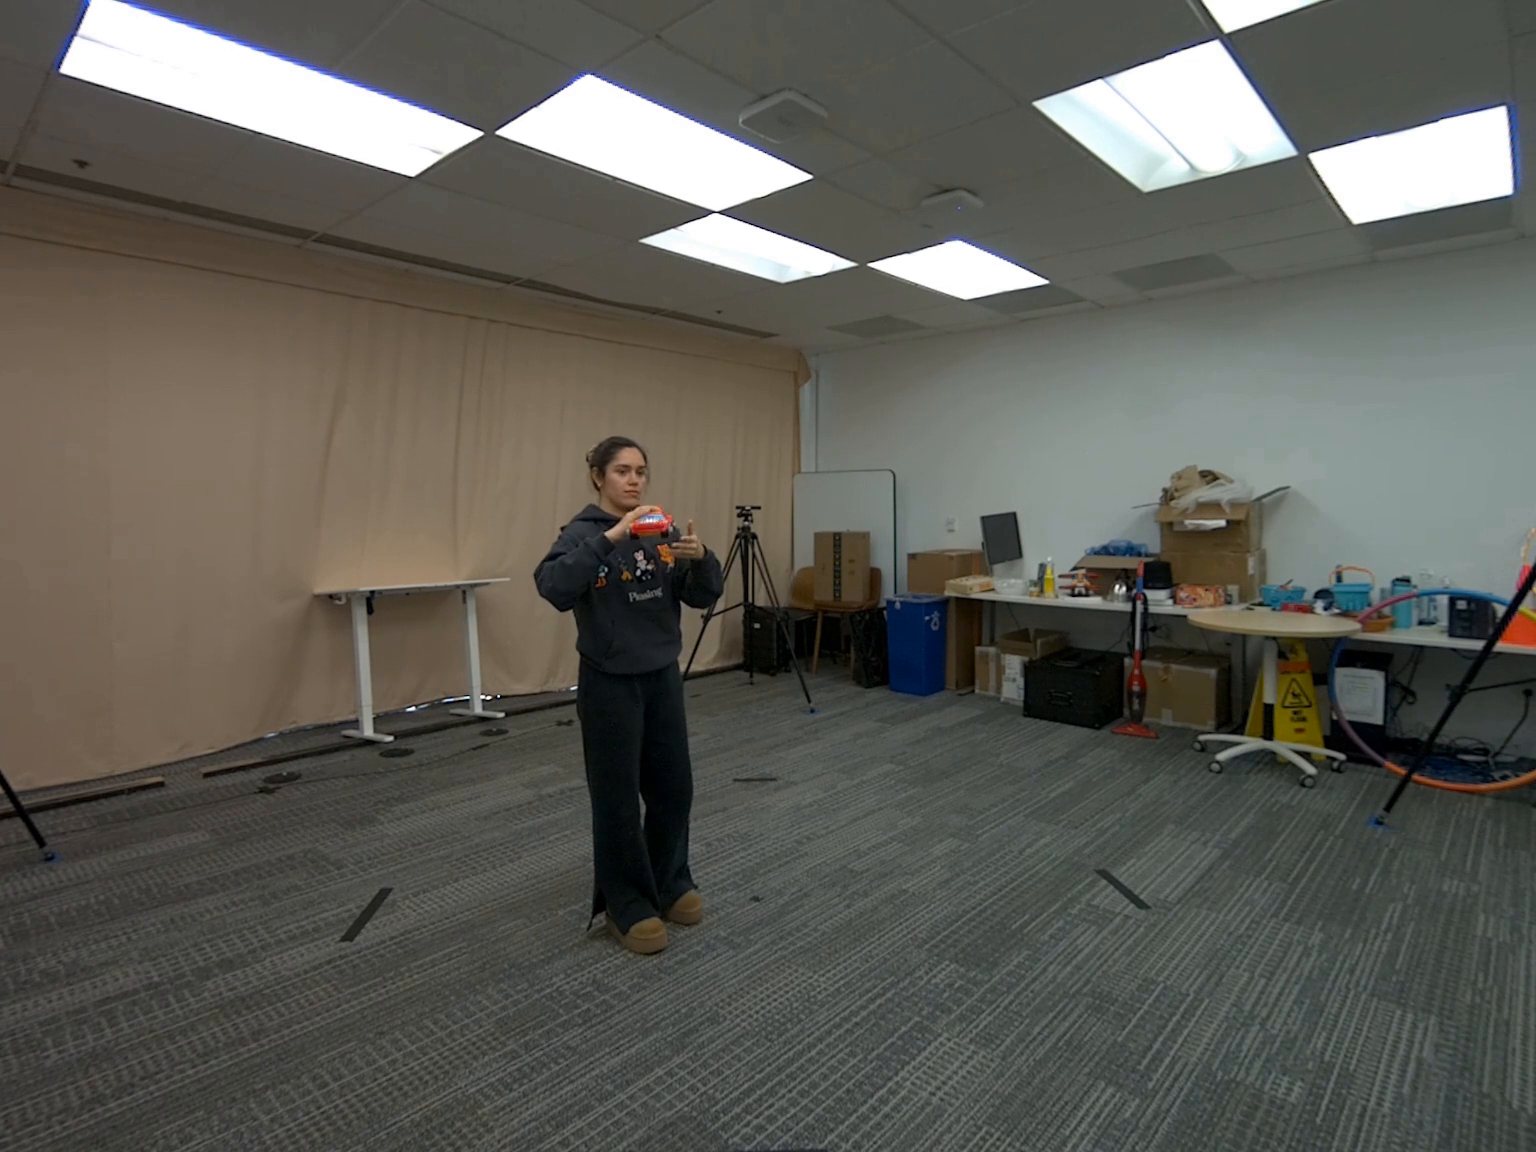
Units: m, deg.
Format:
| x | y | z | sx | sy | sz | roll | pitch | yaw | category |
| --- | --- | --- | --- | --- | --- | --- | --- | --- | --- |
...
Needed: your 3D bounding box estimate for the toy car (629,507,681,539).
| x | y | z | sx | sy | sz | roll | pitch | yaw | category |
| --- | --- | --- | --- | --- | --- | --- | --- | --- | --- |
| -0.326 | -0.143 | 2.437 | 0.130 | 0.082 | 0.257 | -5 | 17 | -1 | toy car |
